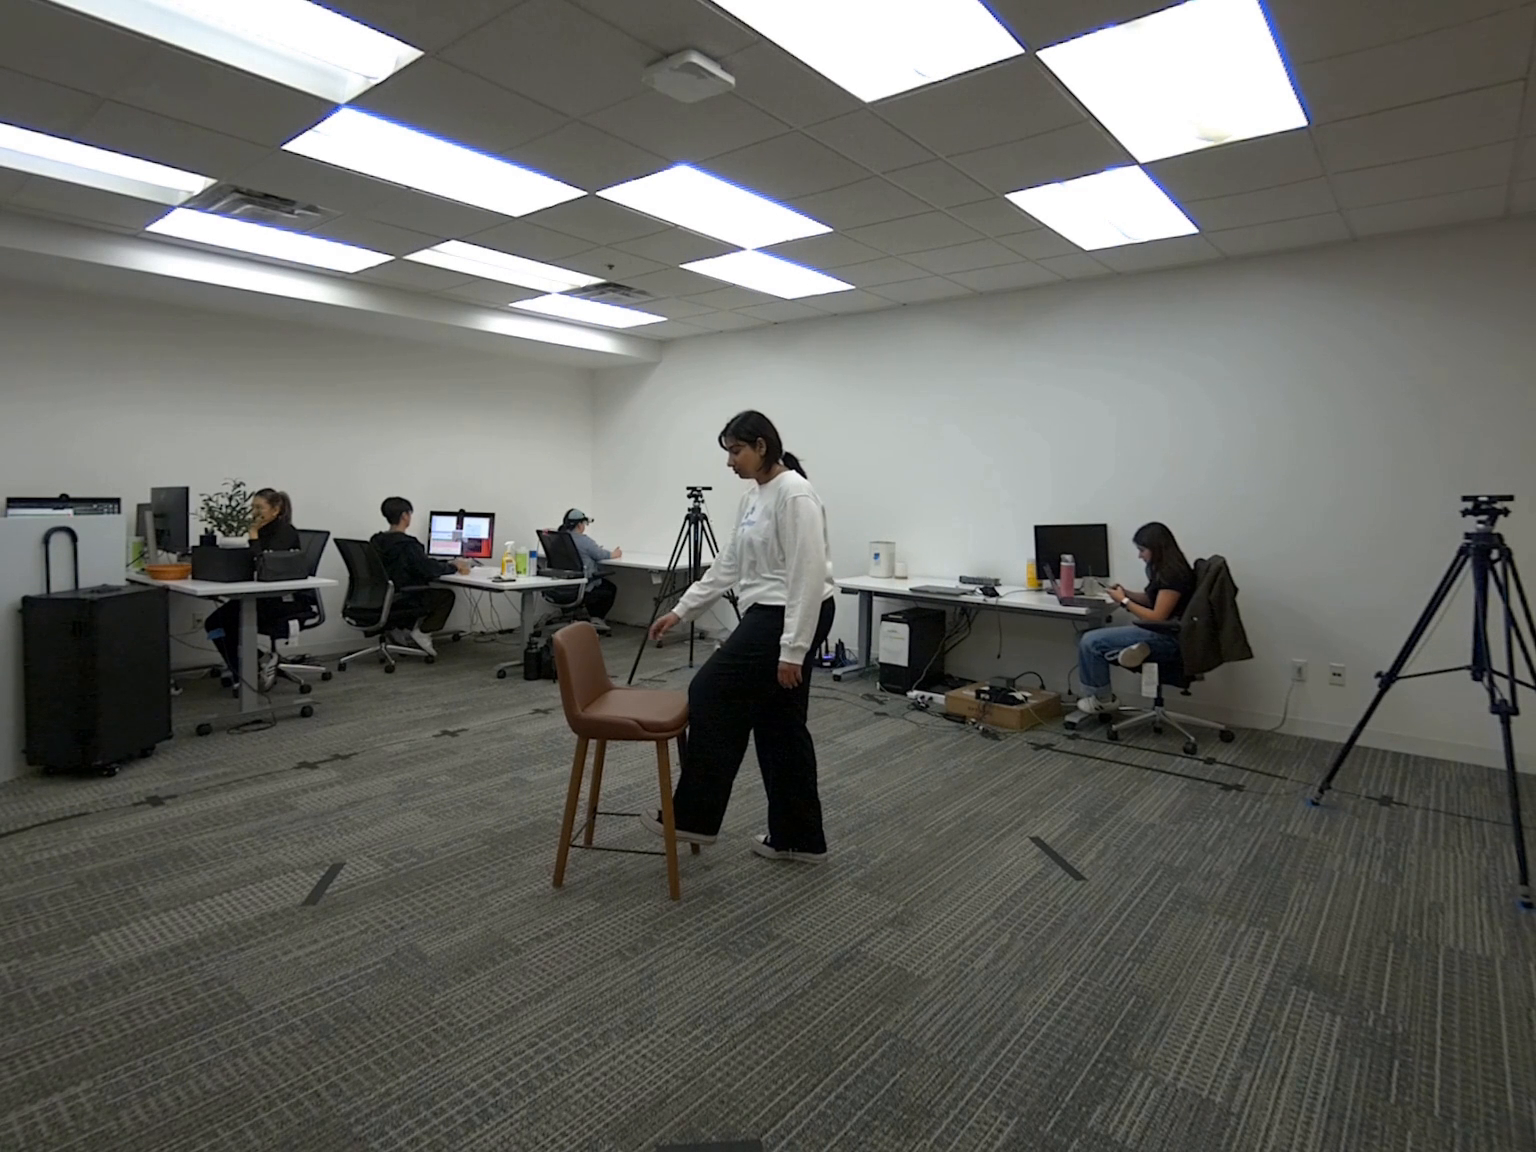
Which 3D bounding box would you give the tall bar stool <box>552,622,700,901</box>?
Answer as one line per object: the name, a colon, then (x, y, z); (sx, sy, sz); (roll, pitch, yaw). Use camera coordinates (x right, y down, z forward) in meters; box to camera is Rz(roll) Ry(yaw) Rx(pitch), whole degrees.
tall bar stool: (-0.509, 0.630, 3.071); (0.472, 0.888, 0.453); (0, 2, 8)
